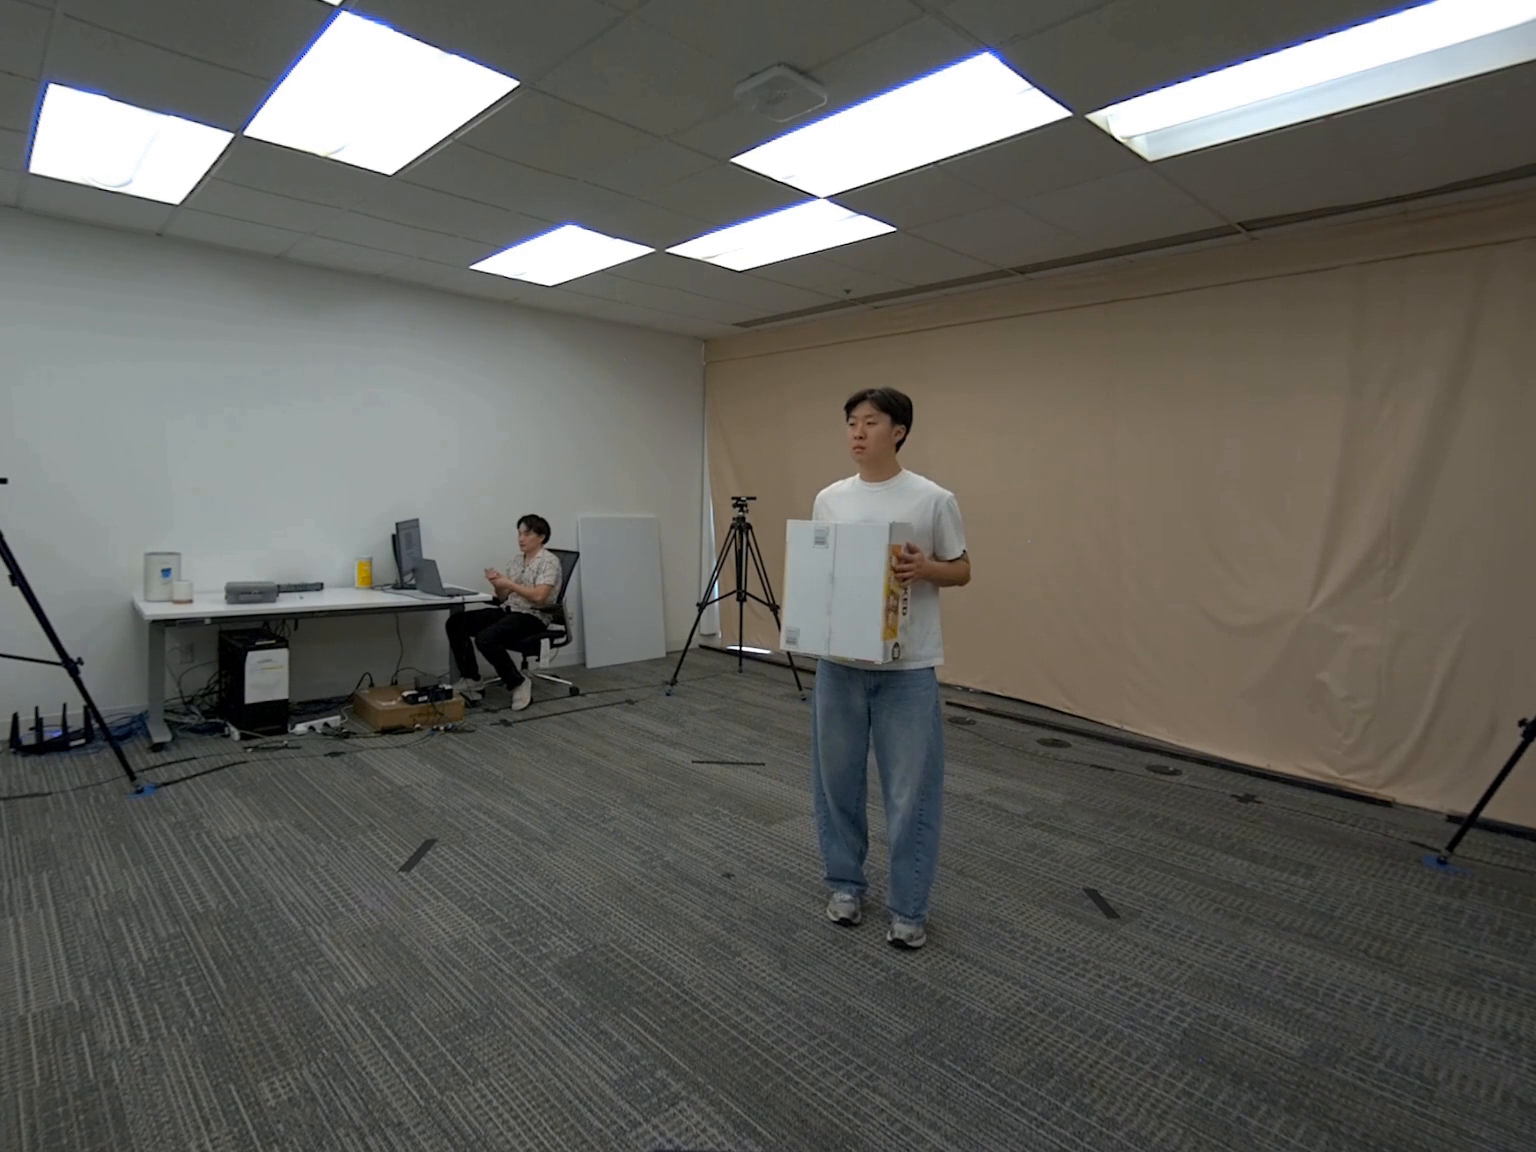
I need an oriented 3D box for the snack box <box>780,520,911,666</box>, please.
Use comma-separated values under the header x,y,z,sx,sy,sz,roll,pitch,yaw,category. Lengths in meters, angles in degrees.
x,y,z,sx,sy,sz,roll,pitch,yaw,category
0.243,0.042,2.565,0.348,0.405,0.201,3,1,30,snack box
